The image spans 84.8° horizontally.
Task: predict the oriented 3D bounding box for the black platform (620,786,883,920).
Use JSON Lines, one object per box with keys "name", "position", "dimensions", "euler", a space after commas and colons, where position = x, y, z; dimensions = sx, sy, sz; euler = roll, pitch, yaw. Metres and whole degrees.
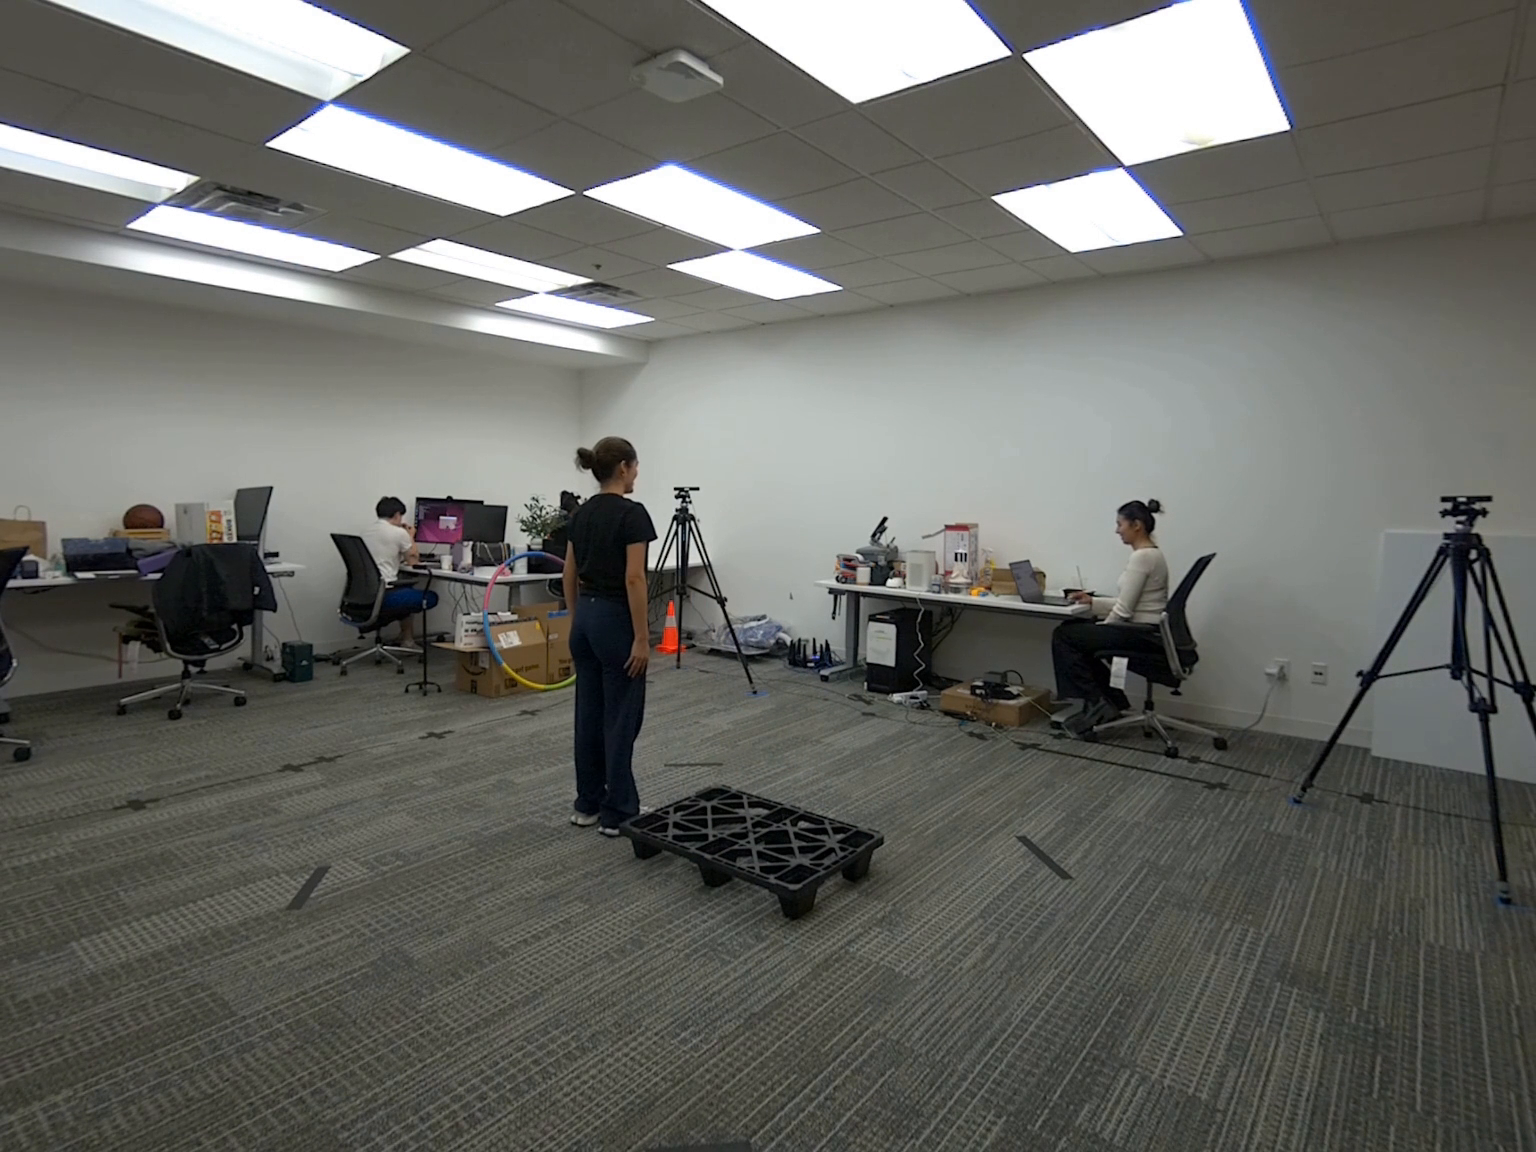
{"name": "black platform", "position": [-0.049, 1.000, 3.163], "dimensions": [0.833, 0.143, 0.587], "euler": [6, 7, 38]}
